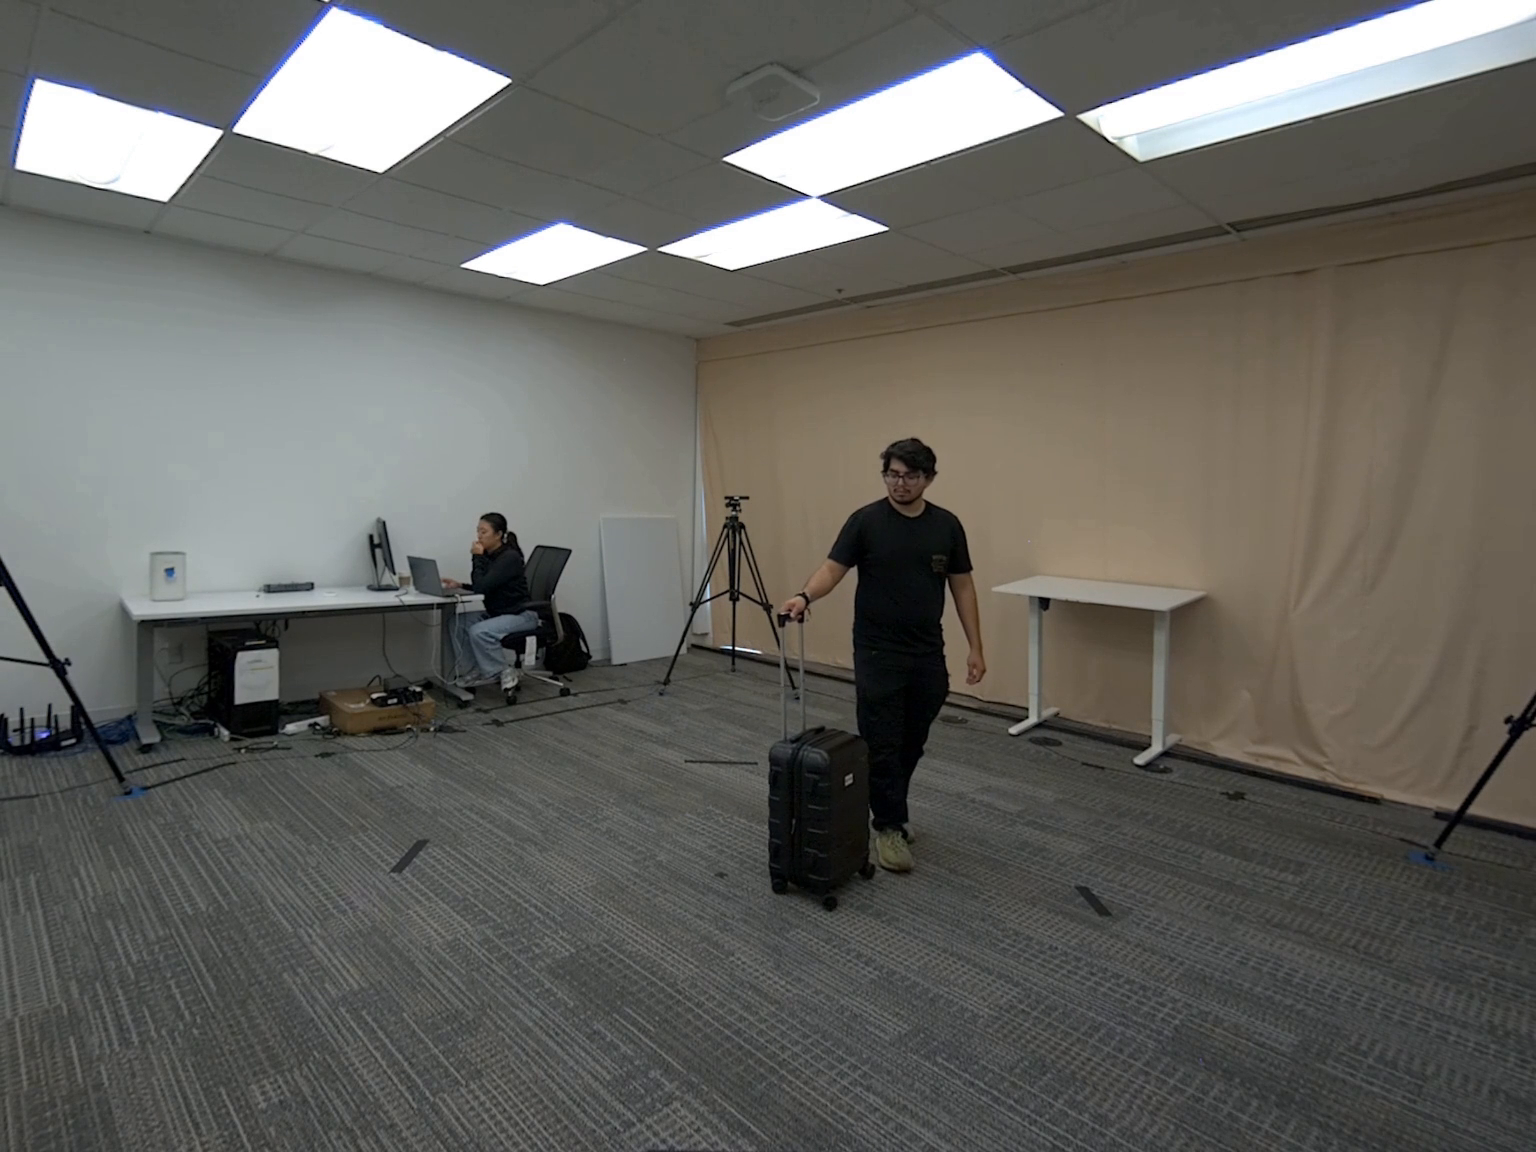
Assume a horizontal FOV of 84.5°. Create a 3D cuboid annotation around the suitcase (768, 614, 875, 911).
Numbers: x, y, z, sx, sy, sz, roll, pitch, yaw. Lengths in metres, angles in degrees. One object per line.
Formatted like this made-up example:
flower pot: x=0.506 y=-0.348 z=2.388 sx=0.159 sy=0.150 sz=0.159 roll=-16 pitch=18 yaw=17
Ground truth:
suitcase: x=0.184 y=0.639 z=3.017 sx=0.263 sy=0.976 sz=0.376 roll=2 pitch=4 yaw=33
